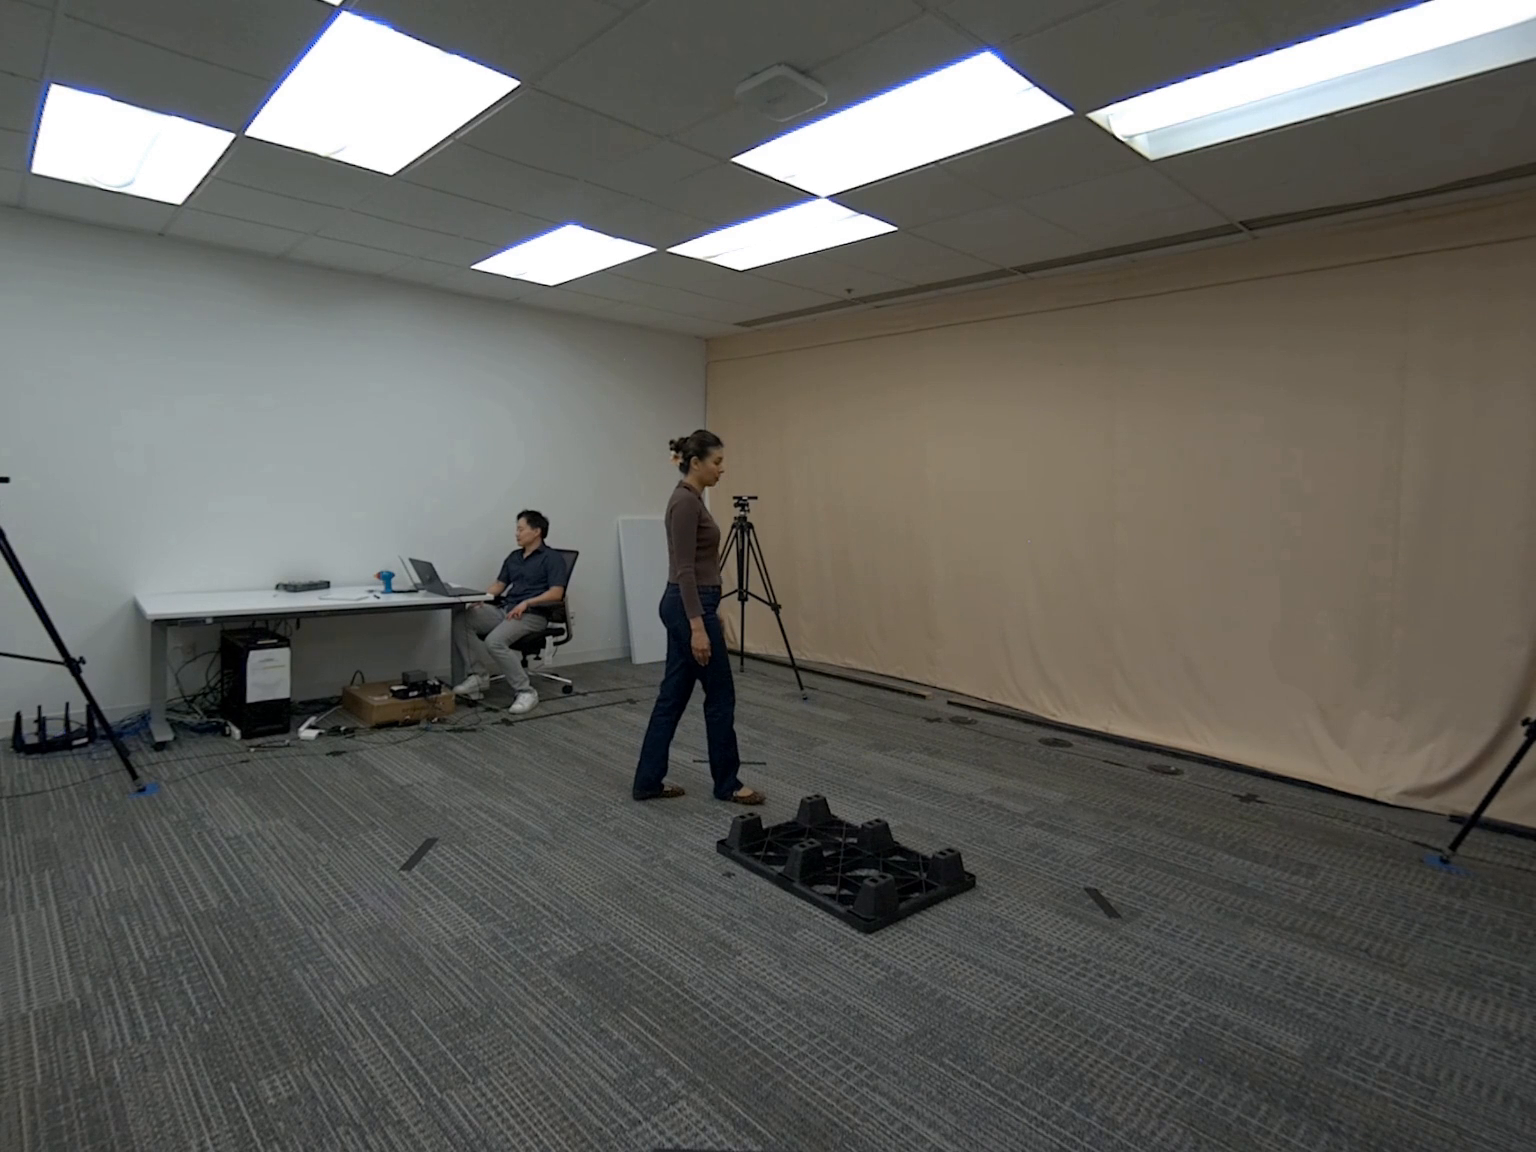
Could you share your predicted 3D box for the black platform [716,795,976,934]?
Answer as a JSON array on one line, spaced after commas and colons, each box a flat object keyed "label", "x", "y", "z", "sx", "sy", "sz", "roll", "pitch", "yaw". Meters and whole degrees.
[{"label": "black platform", "x": 0.266, "y": 1.040, "z": 3.181, "sx": 0.591, "sy": 0.143, "sz": 0.826, "roll": -2, "pitch": 6, "yaw": -40}]
